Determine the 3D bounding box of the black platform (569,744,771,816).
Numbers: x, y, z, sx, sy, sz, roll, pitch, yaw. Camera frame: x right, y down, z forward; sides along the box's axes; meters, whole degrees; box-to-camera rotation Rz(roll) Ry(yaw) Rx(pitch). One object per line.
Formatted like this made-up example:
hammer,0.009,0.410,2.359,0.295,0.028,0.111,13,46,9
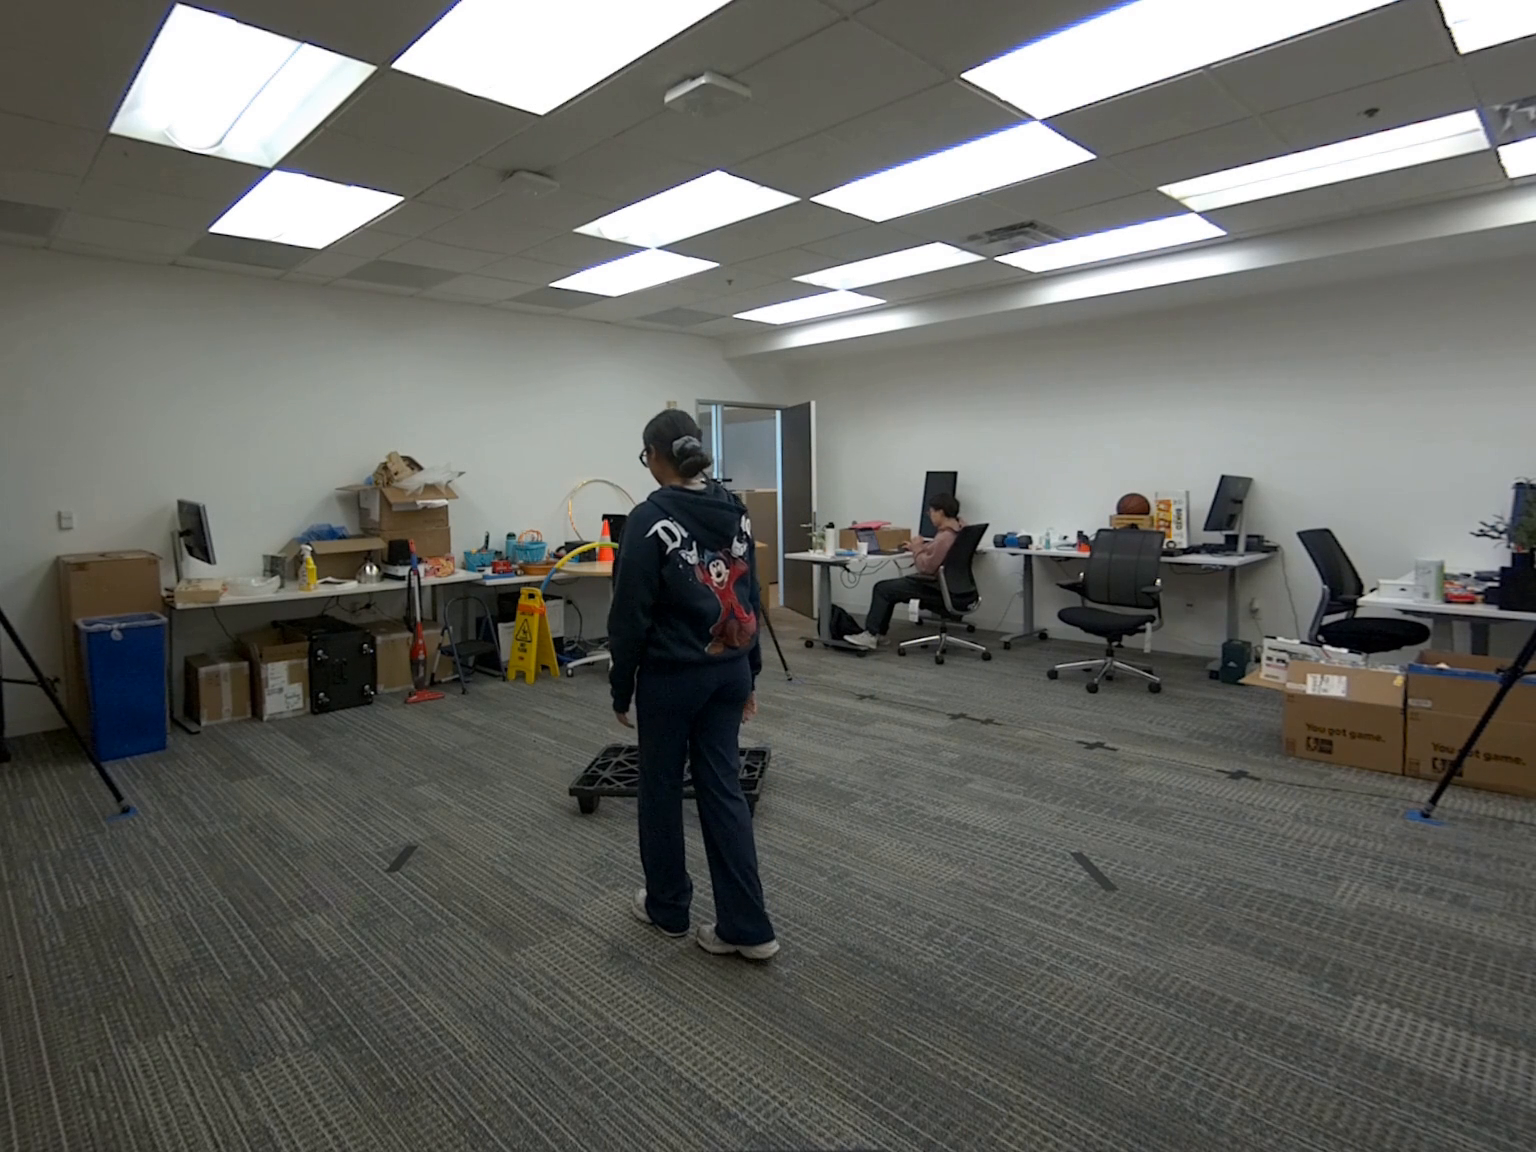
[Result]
black platform,-0.406,0.906,3.784,0.812,0.143,0.603,0,5,7
